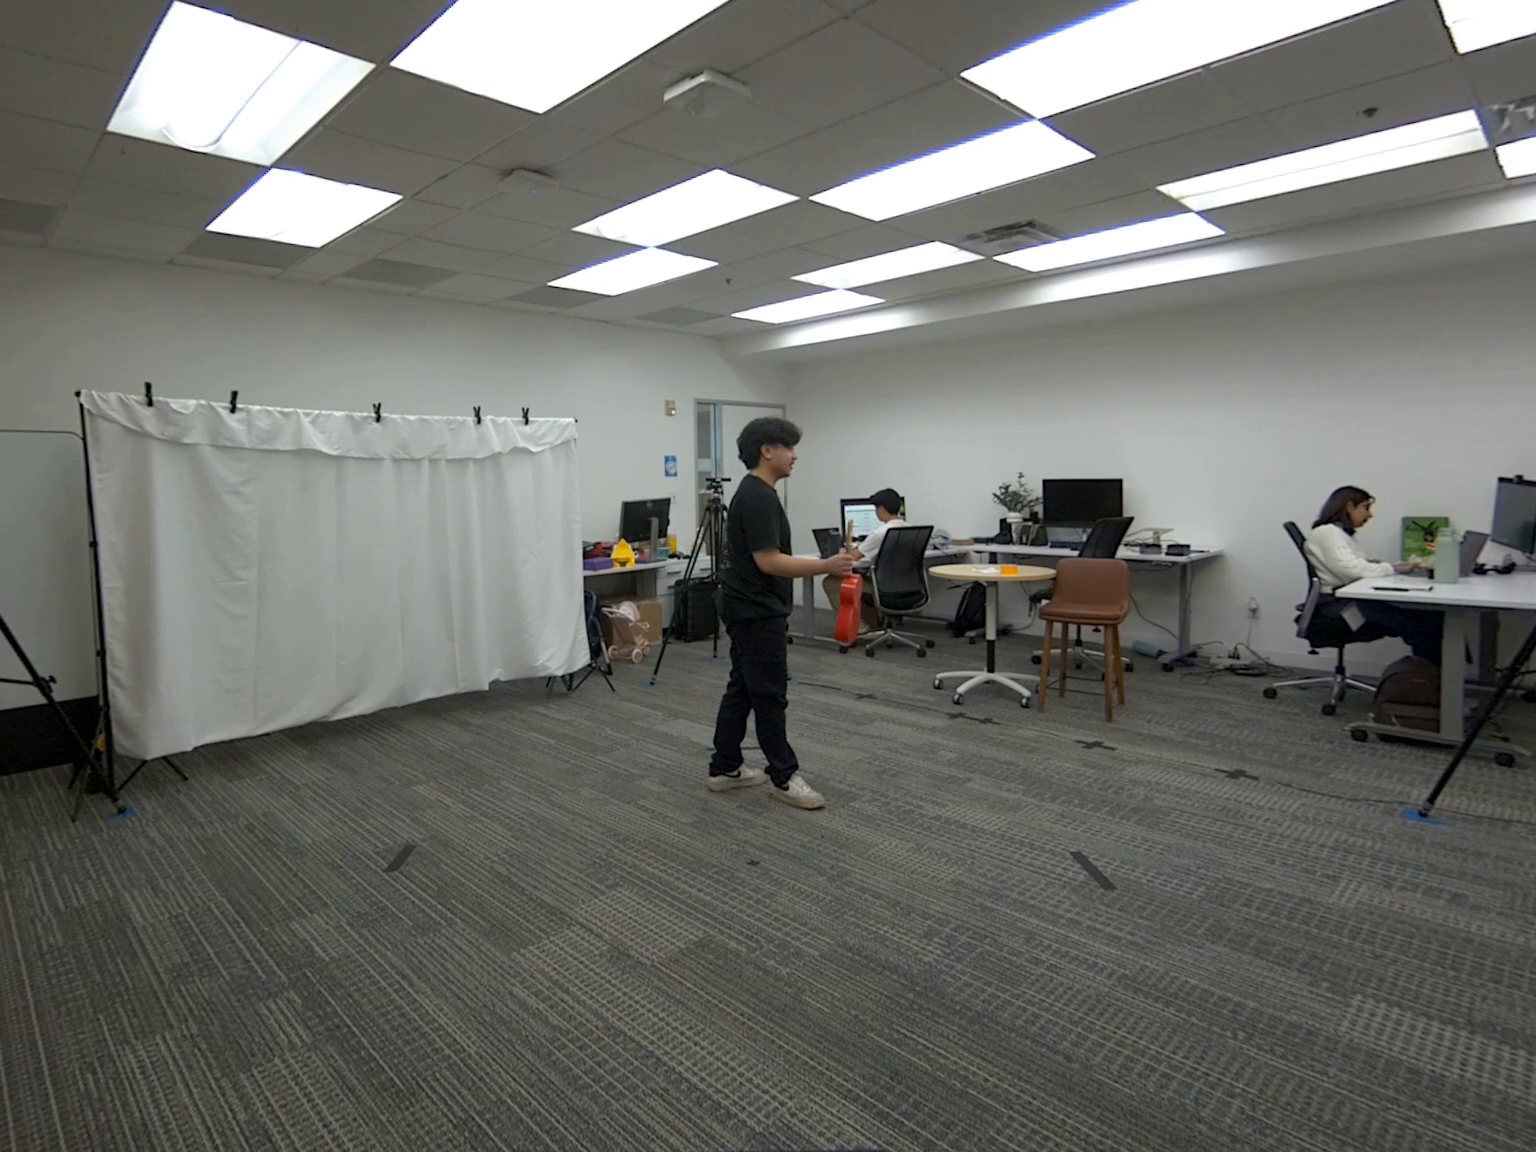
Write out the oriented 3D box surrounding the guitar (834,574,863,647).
[{"bbox_3d":[0.324,0.030,3.418,0.072,0.489,0.192,6,20,17],"label":"guitar"}]
